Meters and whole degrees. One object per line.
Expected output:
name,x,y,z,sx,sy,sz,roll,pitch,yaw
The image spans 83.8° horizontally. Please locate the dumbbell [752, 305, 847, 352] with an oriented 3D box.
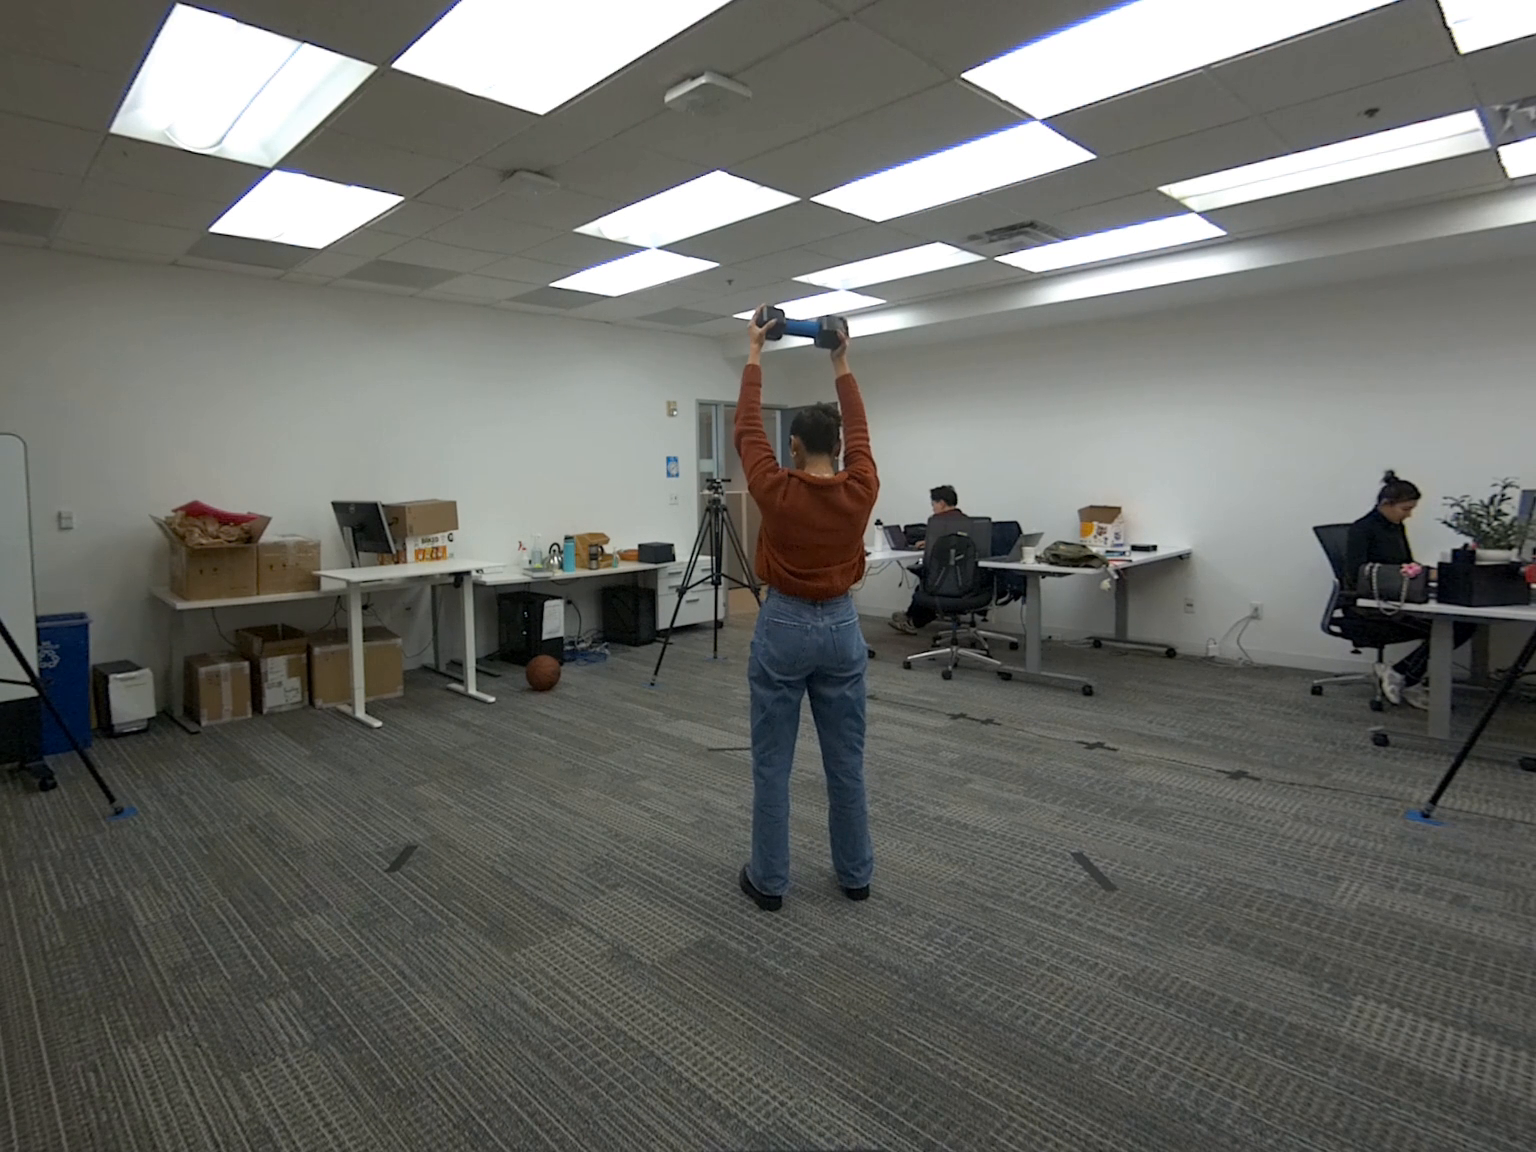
dumbbell,0.110,-0.834,2.906,0.289,0.121,0.112,4,42,-15
